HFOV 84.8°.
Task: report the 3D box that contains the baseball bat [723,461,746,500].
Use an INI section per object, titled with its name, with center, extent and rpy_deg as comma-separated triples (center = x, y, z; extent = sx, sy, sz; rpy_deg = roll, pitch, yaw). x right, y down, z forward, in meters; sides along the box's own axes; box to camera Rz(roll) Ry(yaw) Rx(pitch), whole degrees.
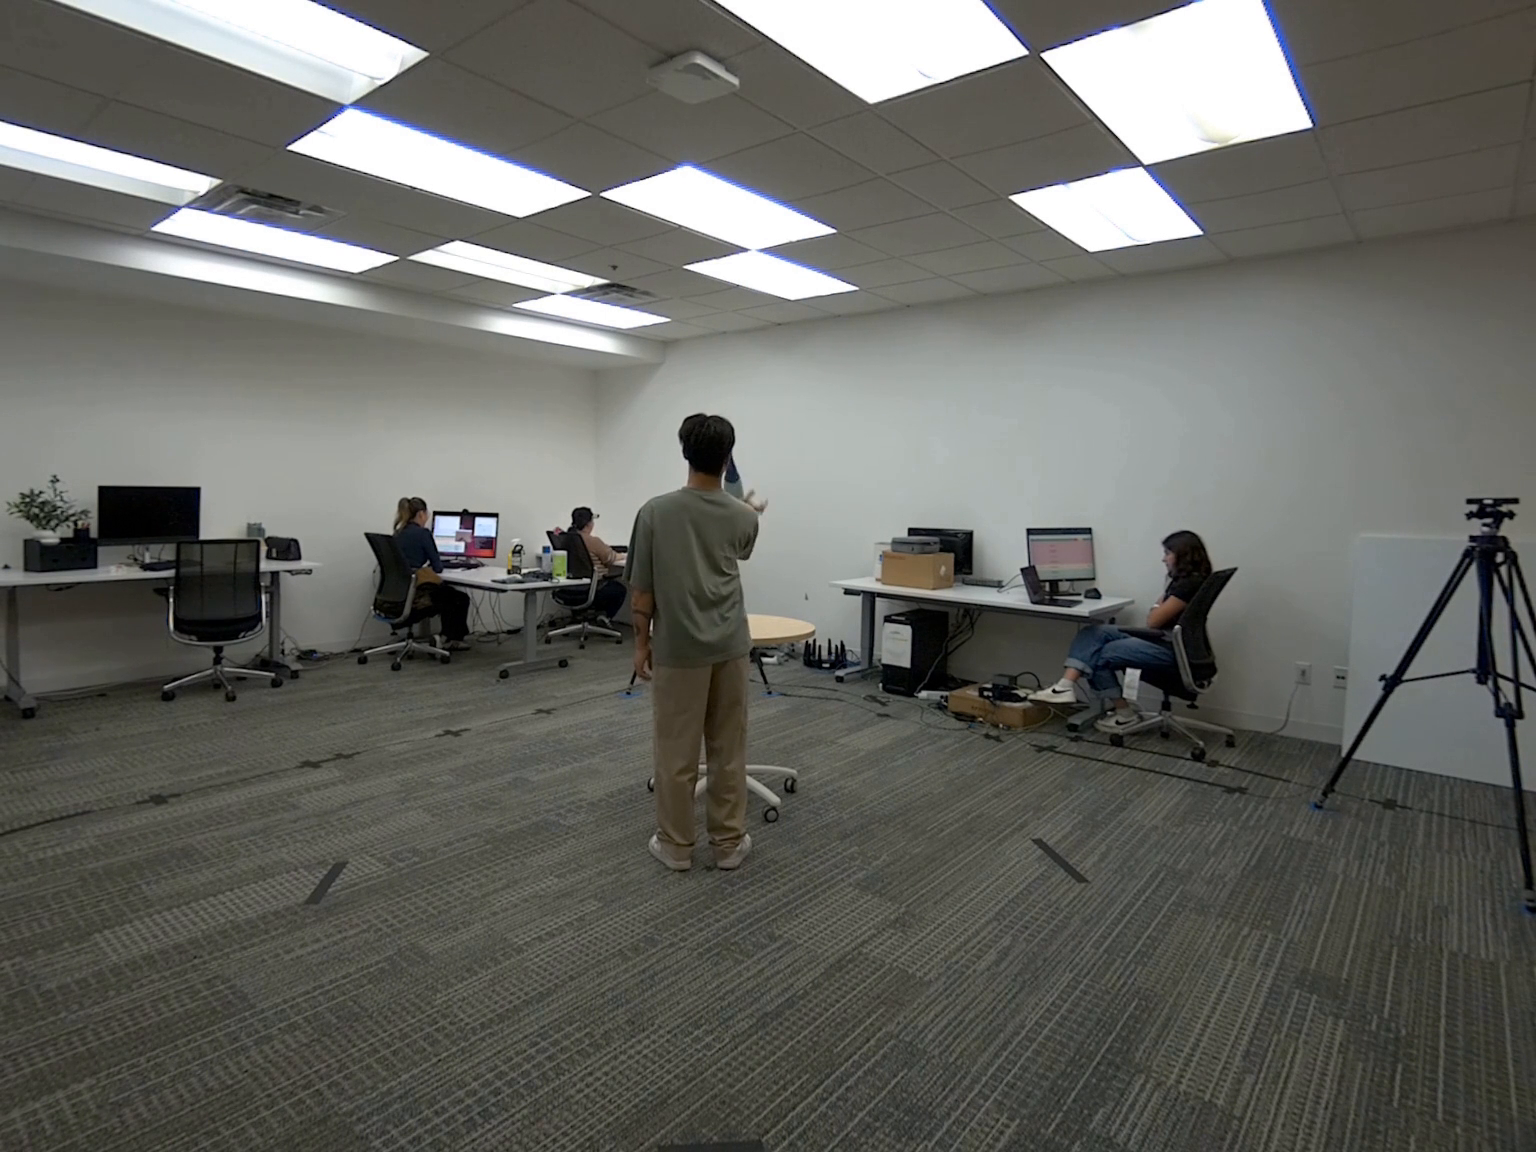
[baseball bat]
center = -0.169, -0.406, 3.694
extent = 0.089, 0.091, 0.528
rpy_deg = 2, -30, 3
